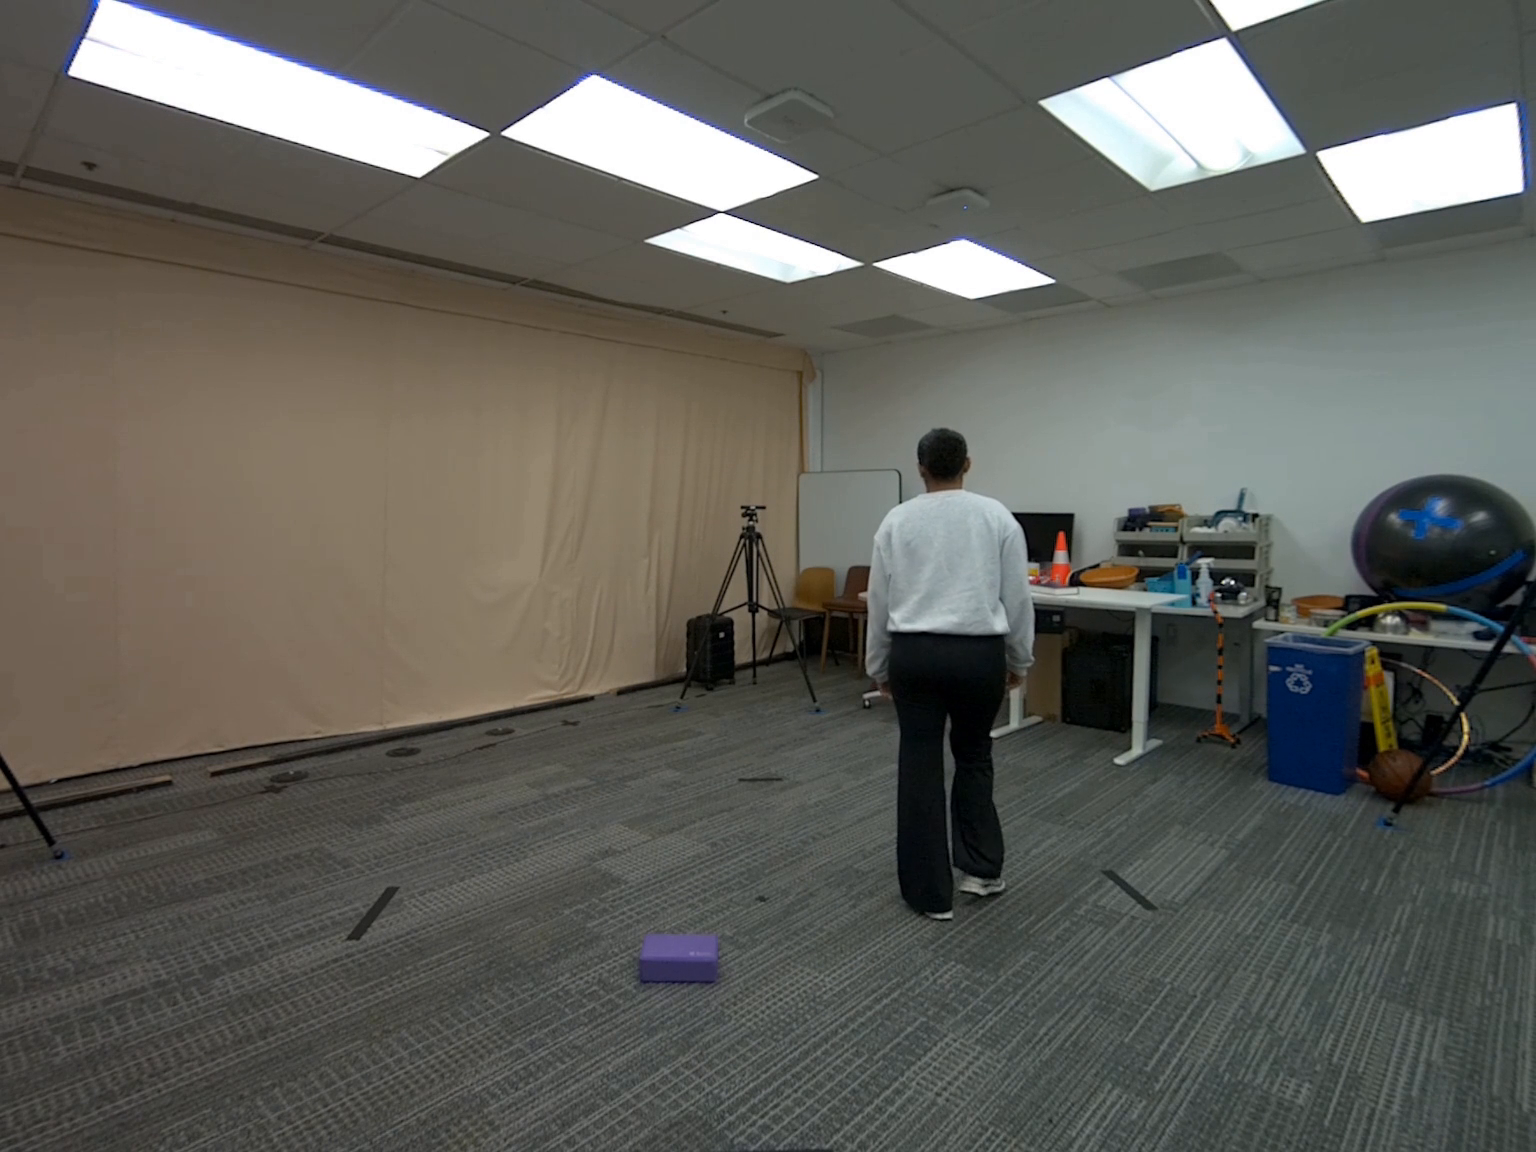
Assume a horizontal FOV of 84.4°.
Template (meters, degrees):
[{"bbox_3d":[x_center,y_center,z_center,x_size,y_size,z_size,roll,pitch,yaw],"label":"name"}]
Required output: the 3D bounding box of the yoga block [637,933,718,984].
[{"bbox_3d":[-0.264,1.147,2.520,0.230,0.076,0.149,0,3,1],"label":"yoga block"}]
